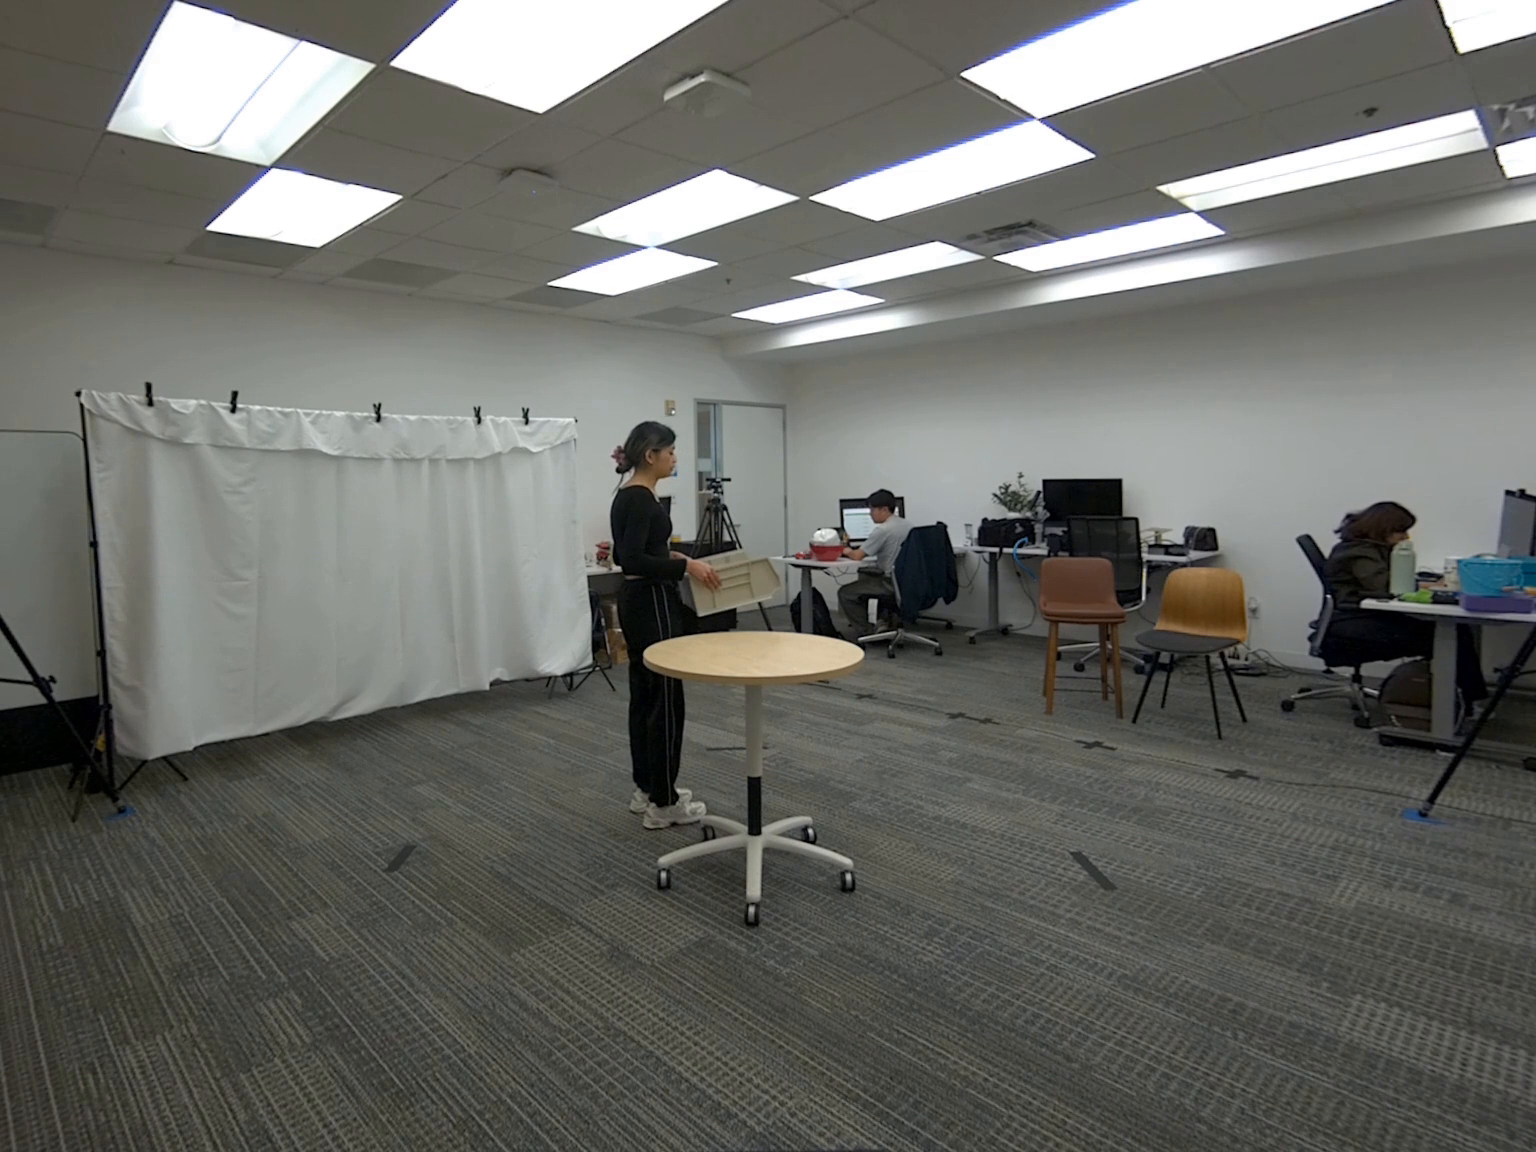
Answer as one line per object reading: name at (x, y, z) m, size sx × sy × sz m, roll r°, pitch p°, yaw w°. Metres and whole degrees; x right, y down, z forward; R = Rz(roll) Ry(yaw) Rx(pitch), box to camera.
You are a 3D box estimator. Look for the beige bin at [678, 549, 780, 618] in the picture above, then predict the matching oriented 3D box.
beige bin at (-0.181, 0.022, 3.655) m, size 0.374 × 0.187 × 0.429 m, roll -14°, pitch 9°, yaw -12°
